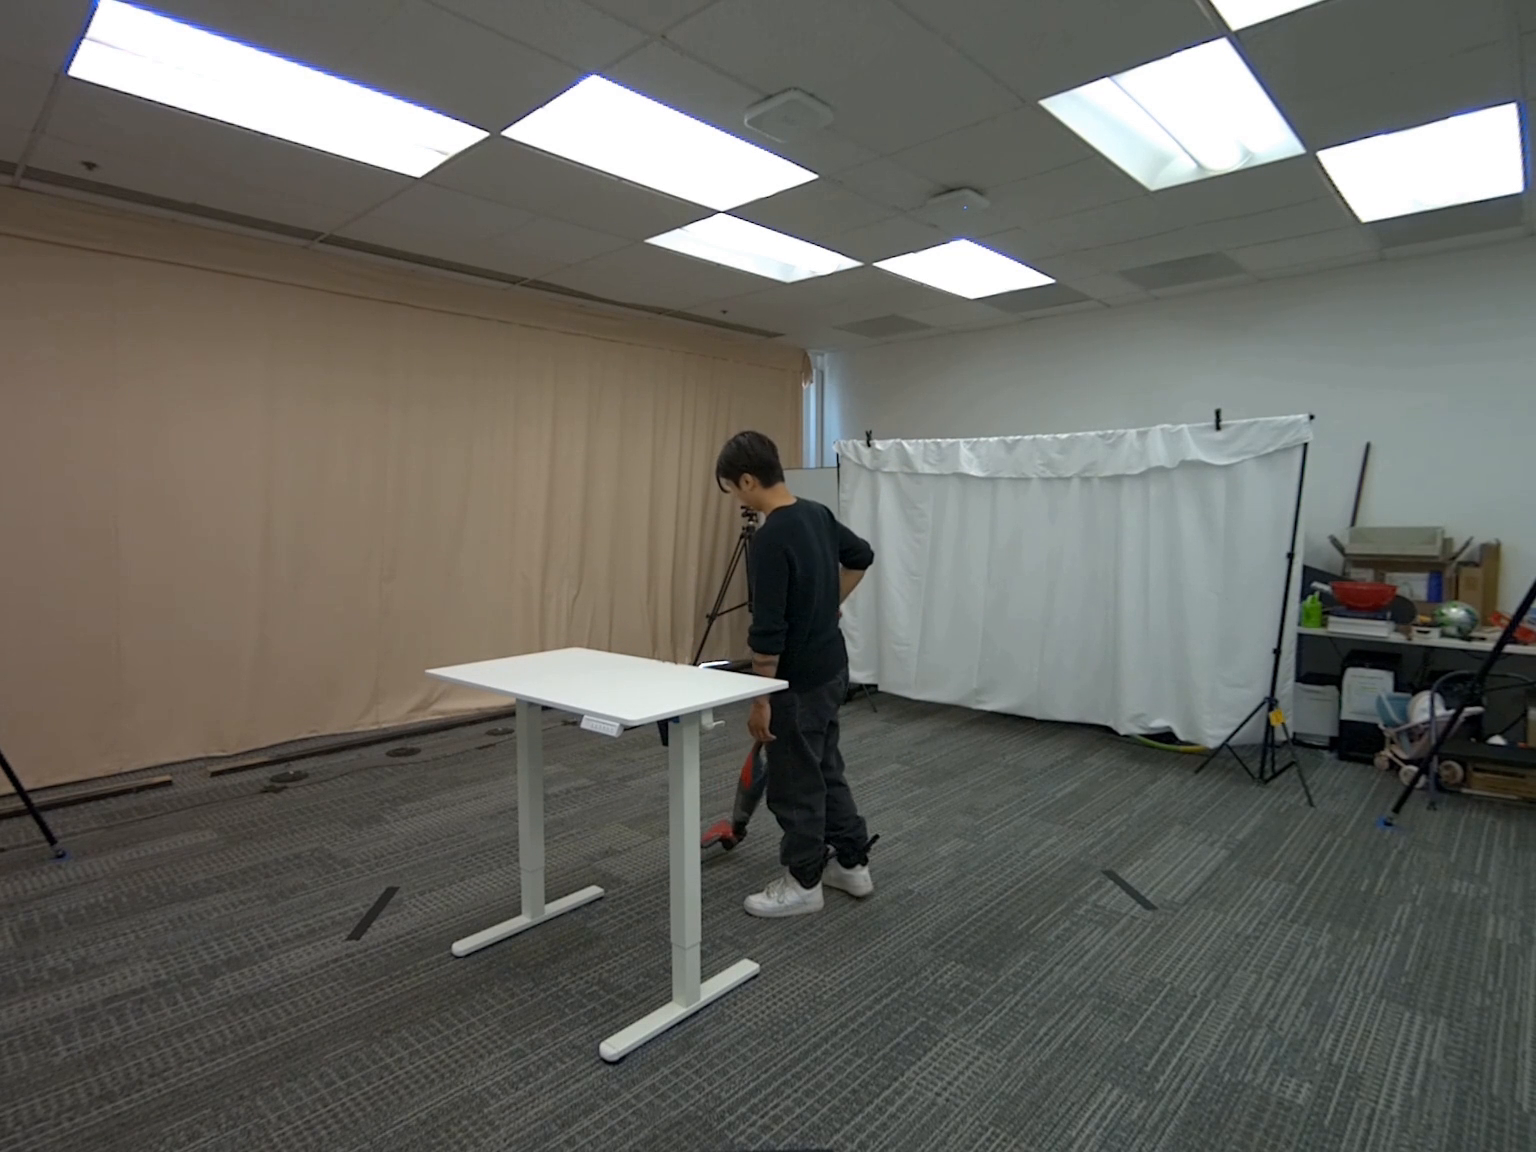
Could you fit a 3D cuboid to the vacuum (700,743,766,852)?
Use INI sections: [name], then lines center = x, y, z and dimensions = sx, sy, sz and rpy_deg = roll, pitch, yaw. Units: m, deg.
[vacuum]
center = 0.027, 0.596, 3.196
dimensions = 0.148, 1.047, 0.246
rpy_deg = 31, 16, 24
